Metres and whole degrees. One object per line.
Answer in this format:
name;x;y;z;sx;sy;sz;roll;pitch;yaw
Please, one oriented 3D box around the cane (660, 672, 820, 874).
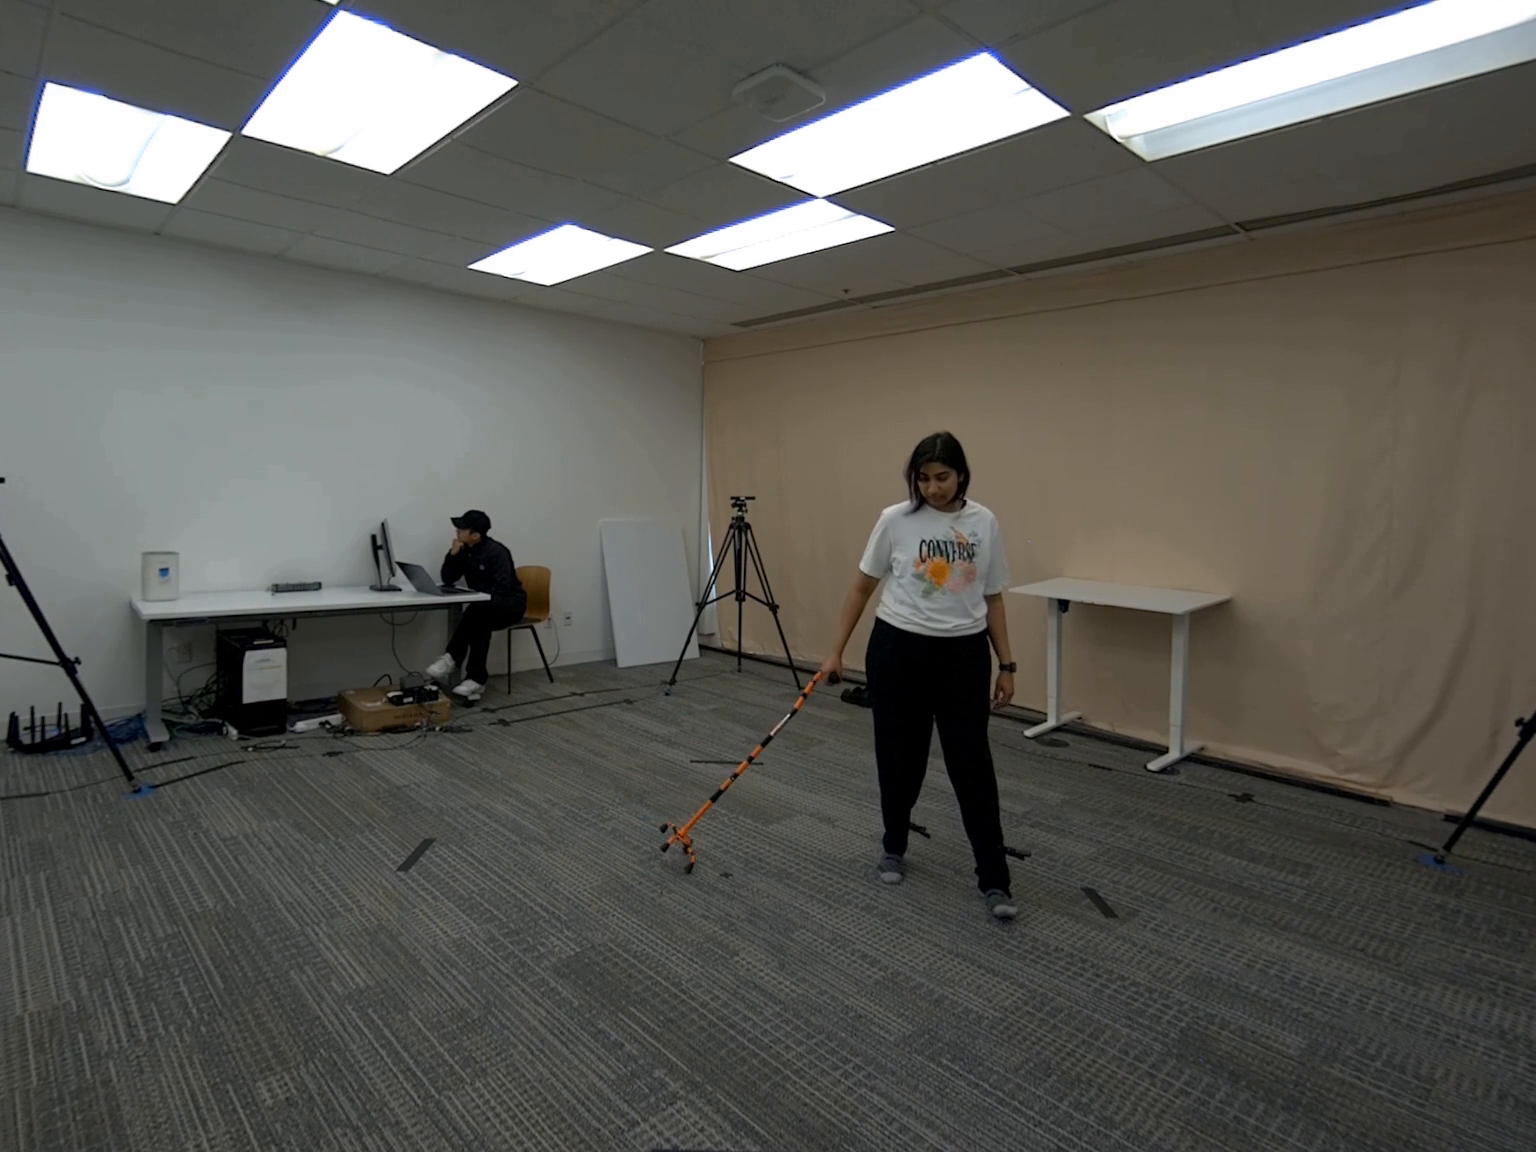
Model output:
cane;-0.055;0.707;3.188;0.150;0.908;0.208;43;0;-10
